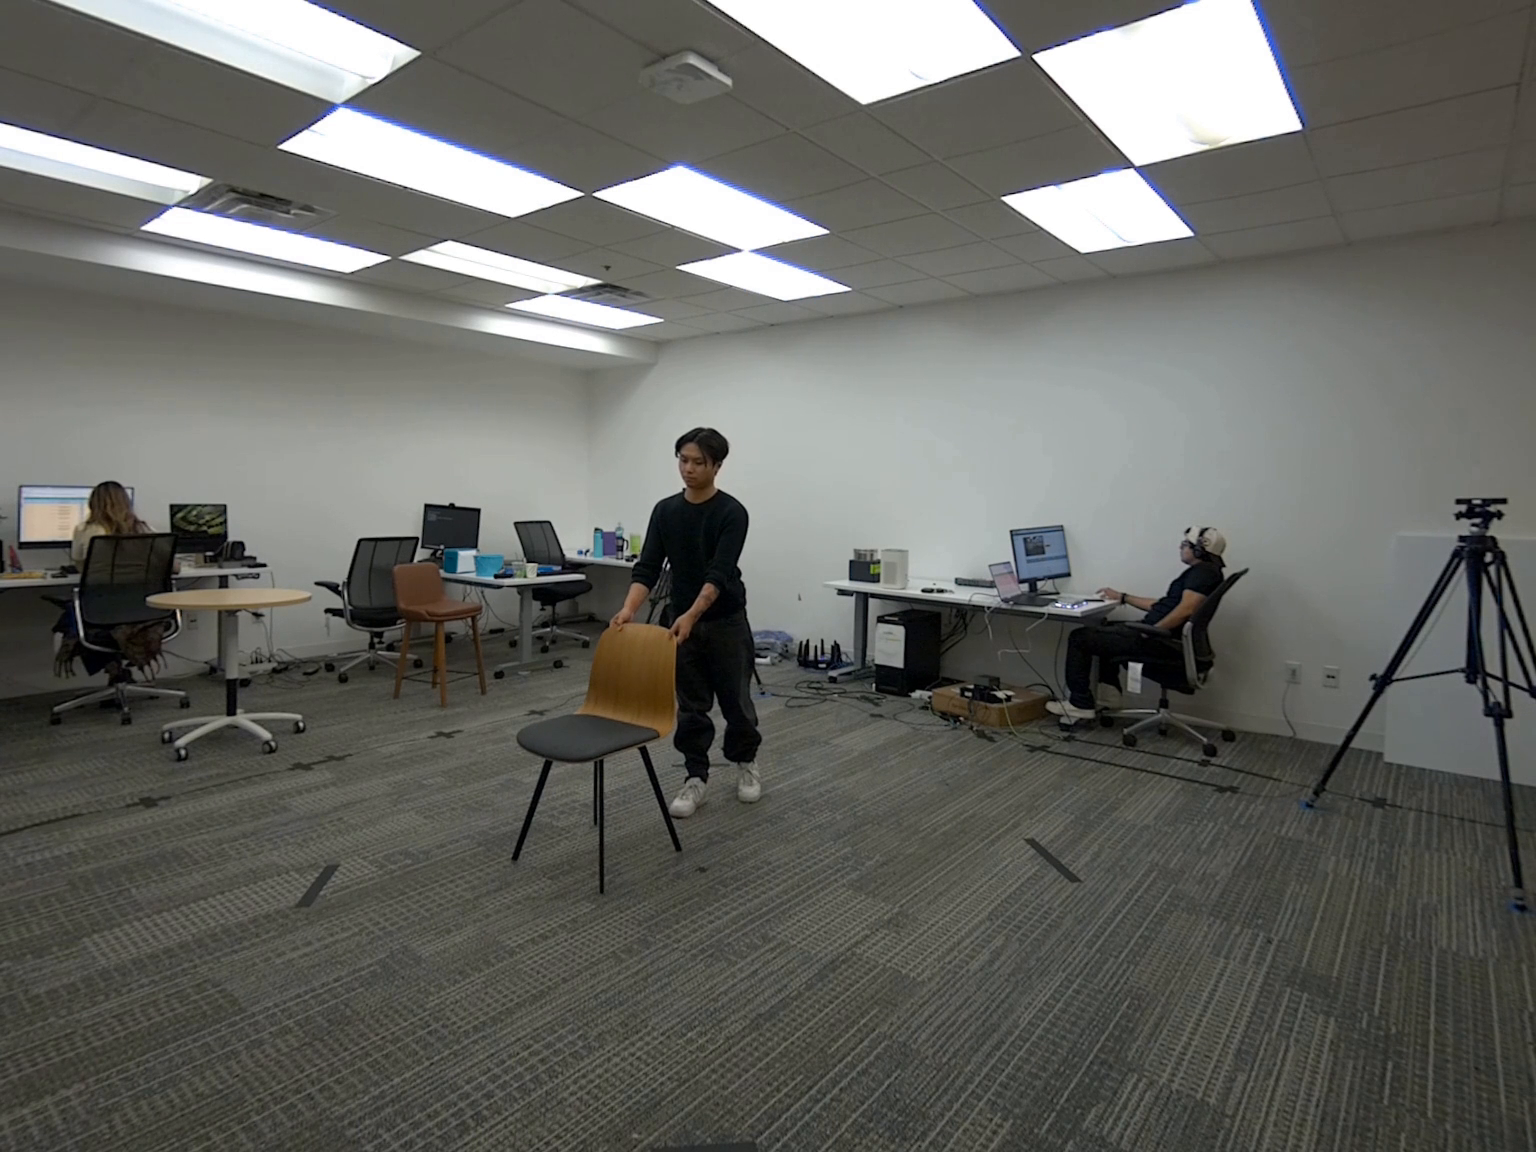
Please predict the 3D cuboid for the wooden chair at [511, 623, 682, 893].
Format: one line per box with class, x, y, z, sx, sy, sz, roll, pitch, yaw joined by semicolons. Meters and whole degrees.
wooden chair;-0.643;0.627;3.176;0.493;0.878;0.507;3;-1;33
